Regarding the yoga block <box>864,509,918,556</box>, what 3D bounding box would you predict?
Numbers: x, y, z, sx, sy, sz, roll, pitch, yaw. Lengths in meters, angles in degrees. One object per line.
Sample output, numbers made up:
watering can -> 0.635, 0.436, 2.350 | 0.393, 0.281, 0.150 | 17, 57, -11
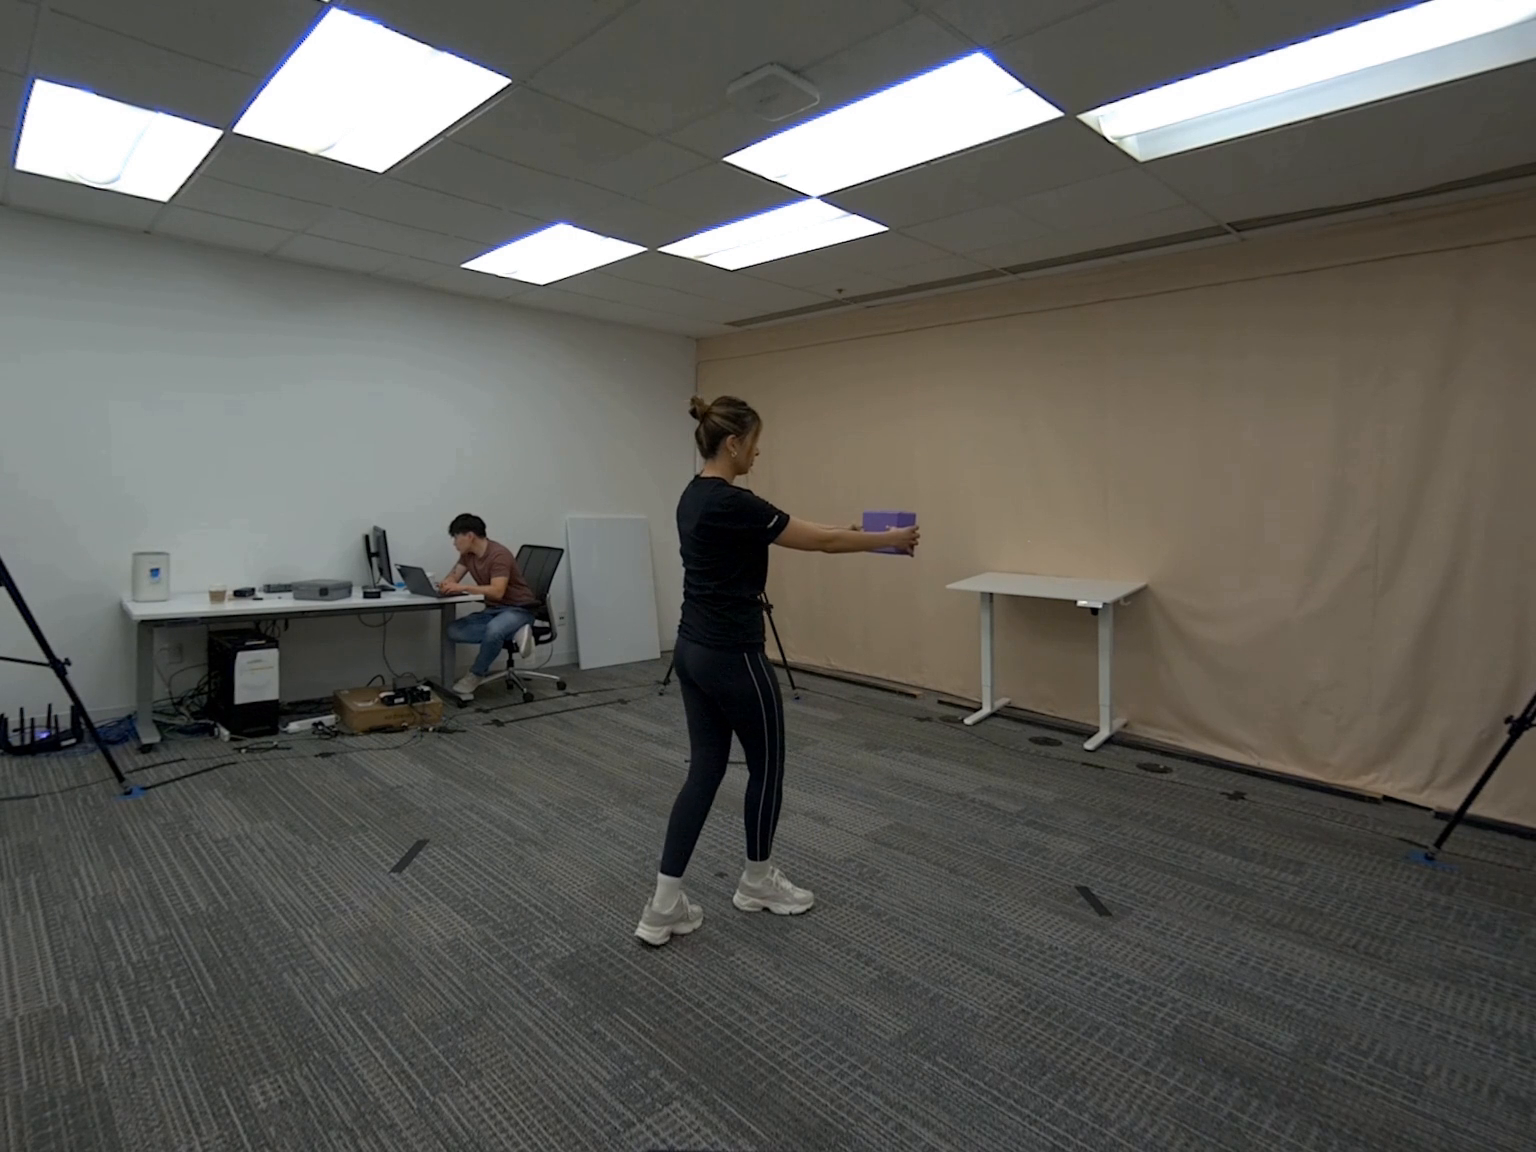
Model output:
yoga block -> 0.418, -0.151, 2.899 | 0.075, 0.149, 0.233 | -2, 4, -19
